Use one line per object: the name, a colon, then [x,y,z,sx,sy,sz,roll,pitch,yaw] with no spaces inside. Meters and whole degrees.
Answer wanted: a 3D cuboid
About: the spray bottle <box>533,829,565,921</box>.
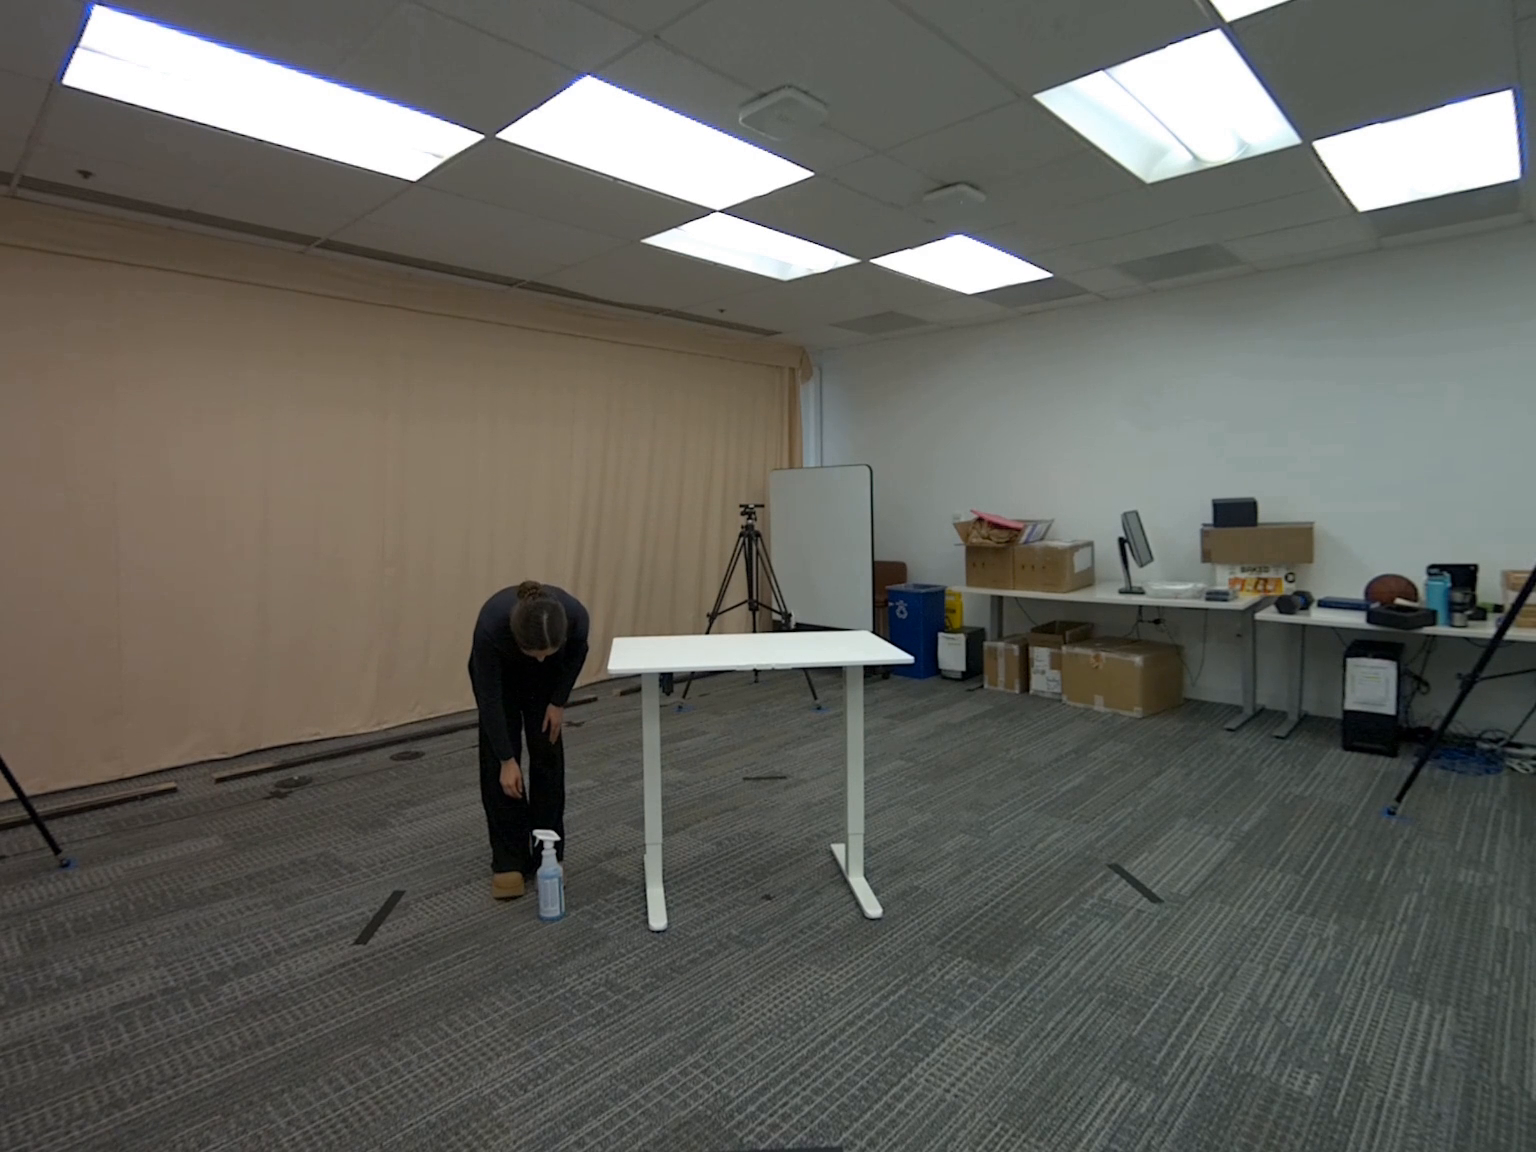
spray bottle: [-0.747,1.020,2.879,0.092,0.297,0.085,0,3,28]
